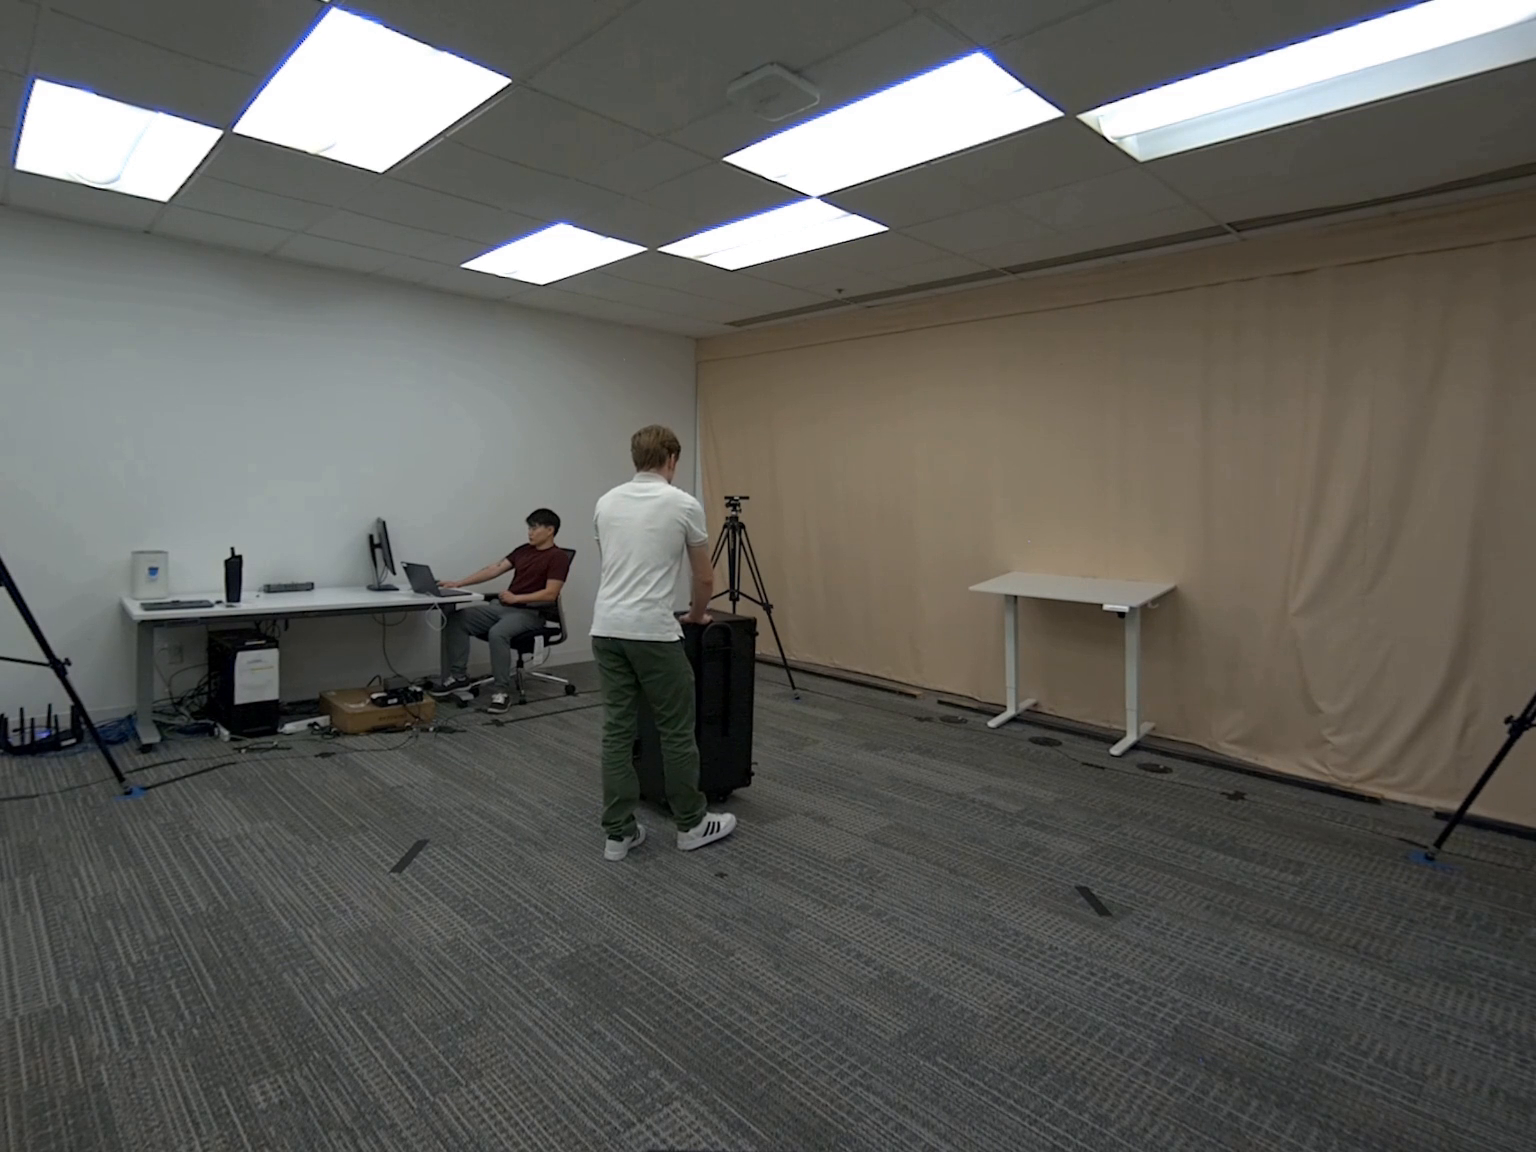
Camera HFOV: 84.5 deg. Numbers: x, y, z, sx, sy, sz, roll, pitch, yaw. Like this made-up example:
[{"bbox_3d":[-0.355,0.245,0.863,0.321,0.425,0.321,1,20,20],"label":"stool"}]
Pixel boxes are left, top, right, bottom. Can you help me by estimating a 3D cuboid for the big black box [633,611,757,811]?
[{"bbox_3d":[-0.360,0.613,3.853,0.511,0.866,0.395,-2,5,-42],"label":"big black box"}]
